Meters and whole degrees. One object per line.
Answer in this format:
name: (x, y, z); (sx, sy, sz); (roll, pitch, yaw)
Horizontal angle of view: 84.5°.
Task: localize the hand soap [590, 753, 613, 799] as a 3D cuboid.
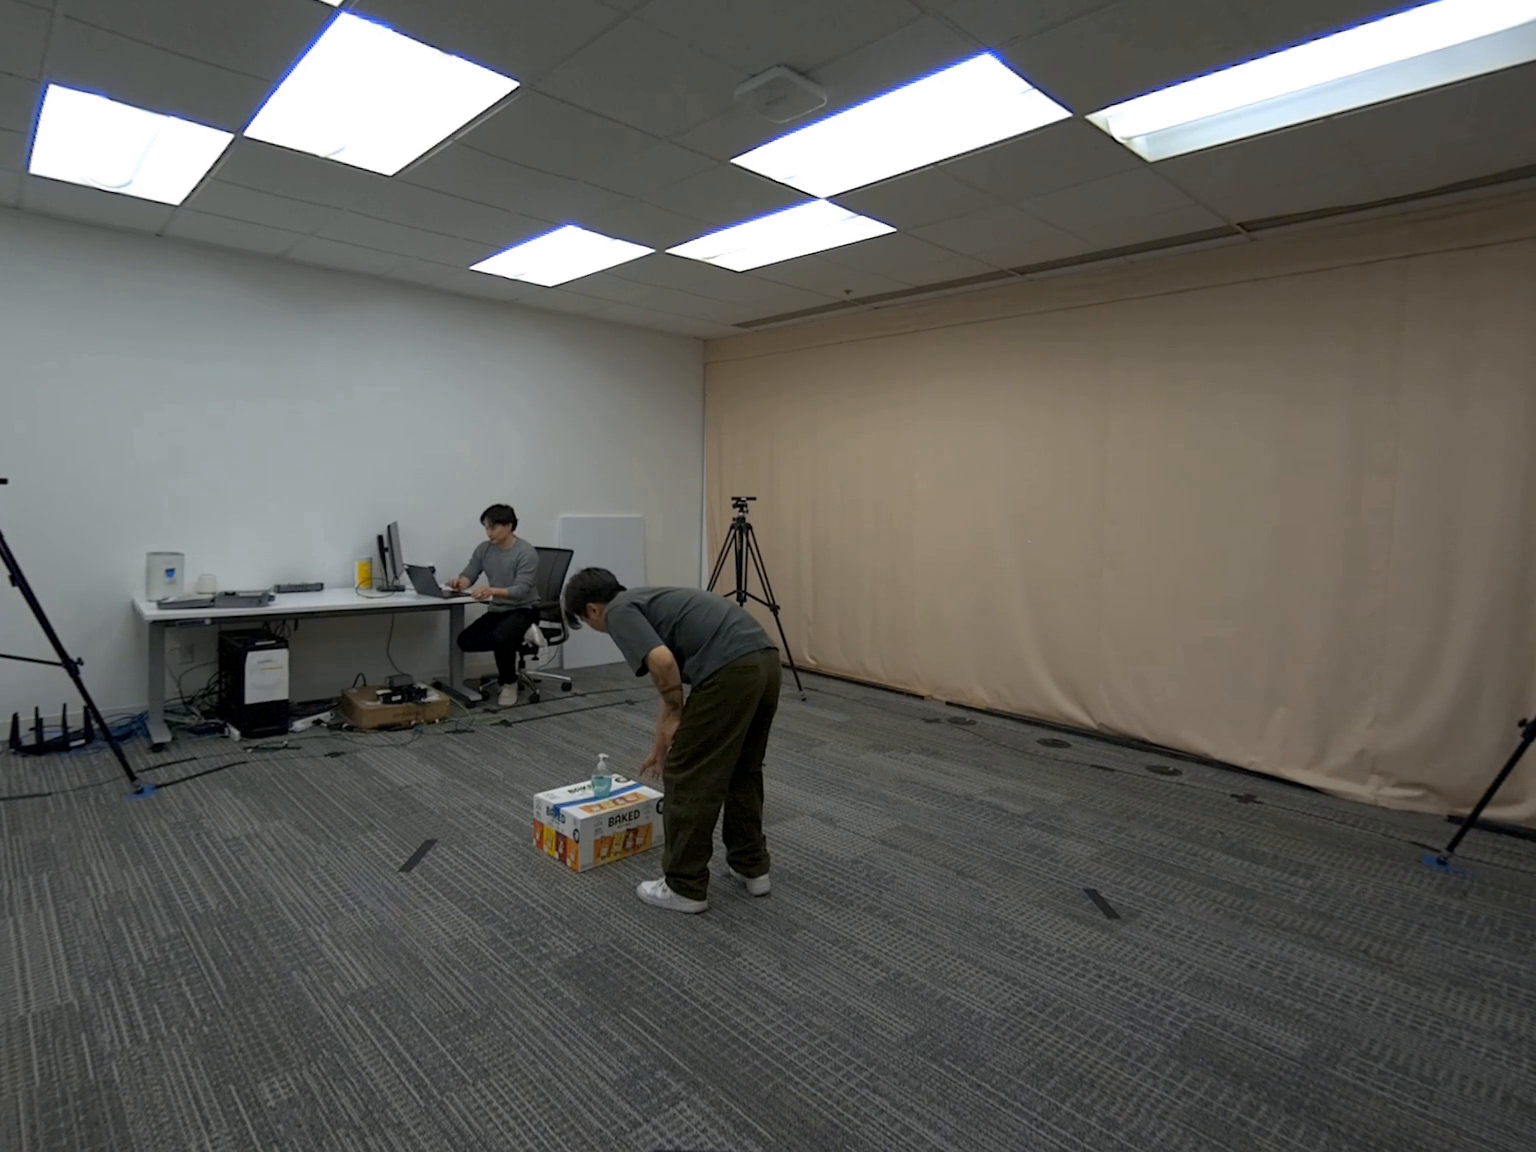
hand soap: (-0.667, 0.791, 3.364); (0.085, 0.167, 0.043); (3, 5, 10)
